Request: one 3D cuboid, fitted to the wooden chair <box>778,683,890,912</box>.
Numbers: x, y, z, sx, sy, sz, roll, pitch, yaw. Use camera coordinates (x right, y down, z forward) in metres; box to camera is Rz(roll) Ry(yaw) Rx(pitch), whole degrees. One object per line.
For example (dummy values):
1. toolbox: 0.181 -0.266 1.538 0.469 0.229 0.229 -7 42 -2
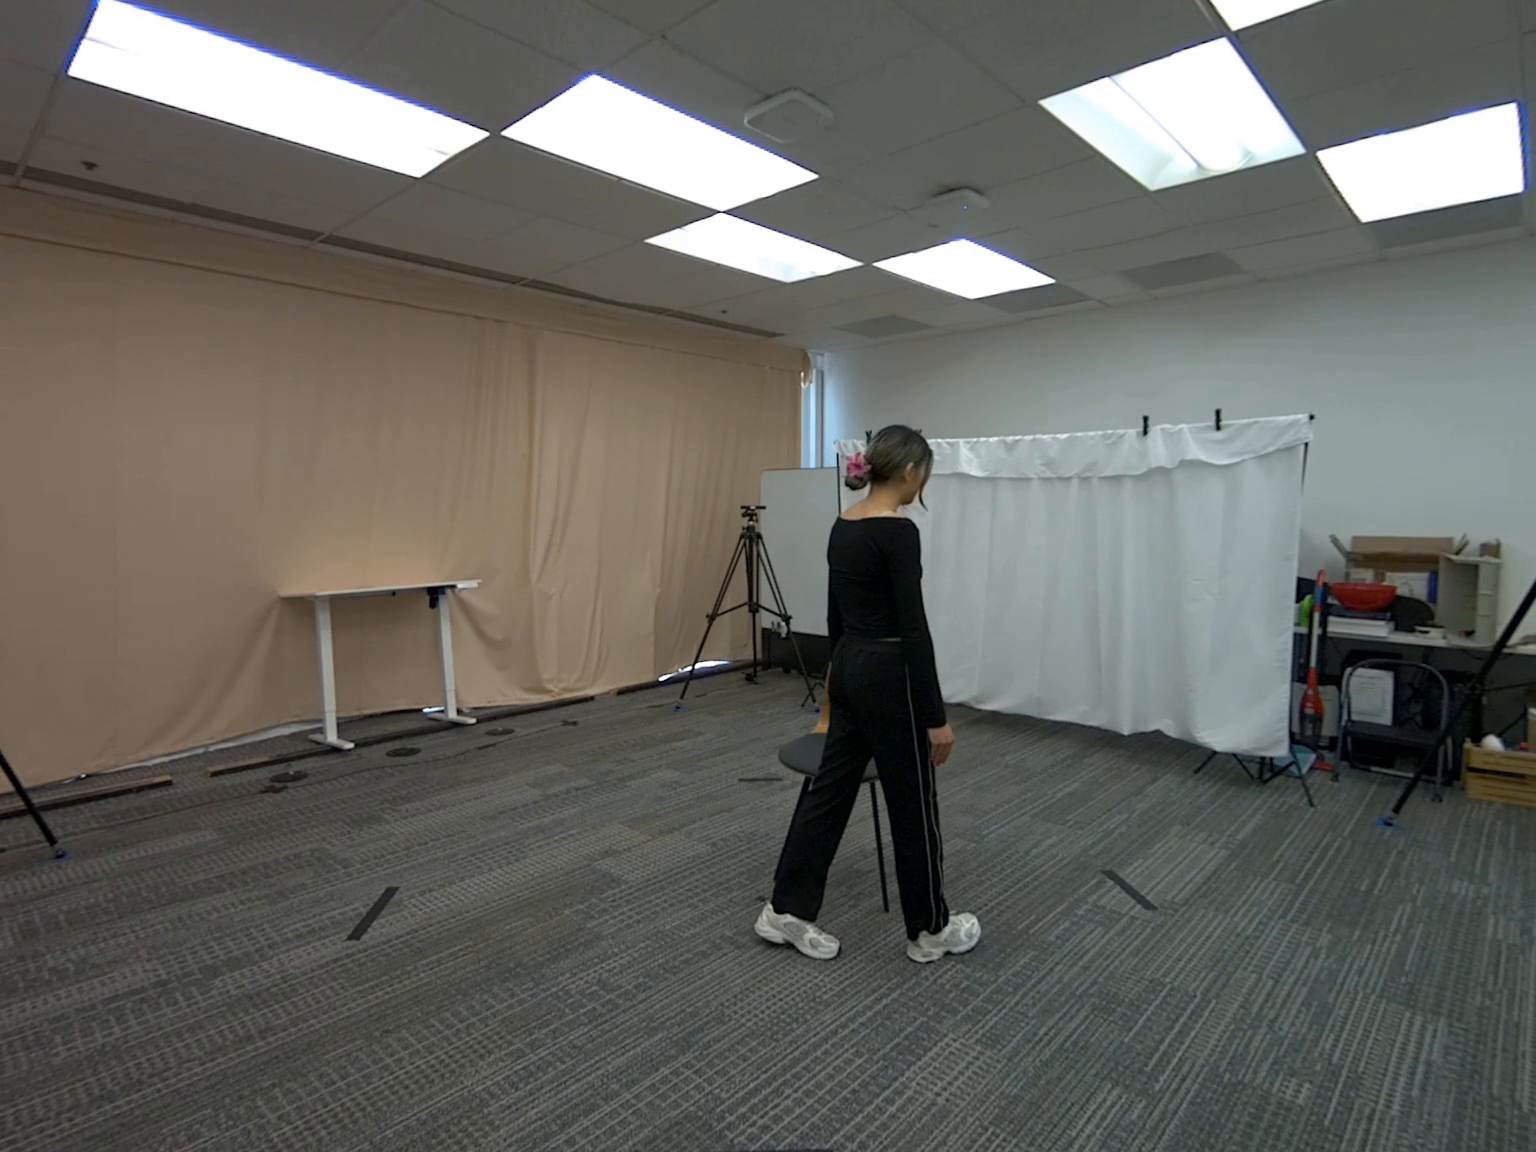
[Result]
1. wooden chair: 0.325 0.700 3.152 0.492 0.877 0.507 2 0 32
